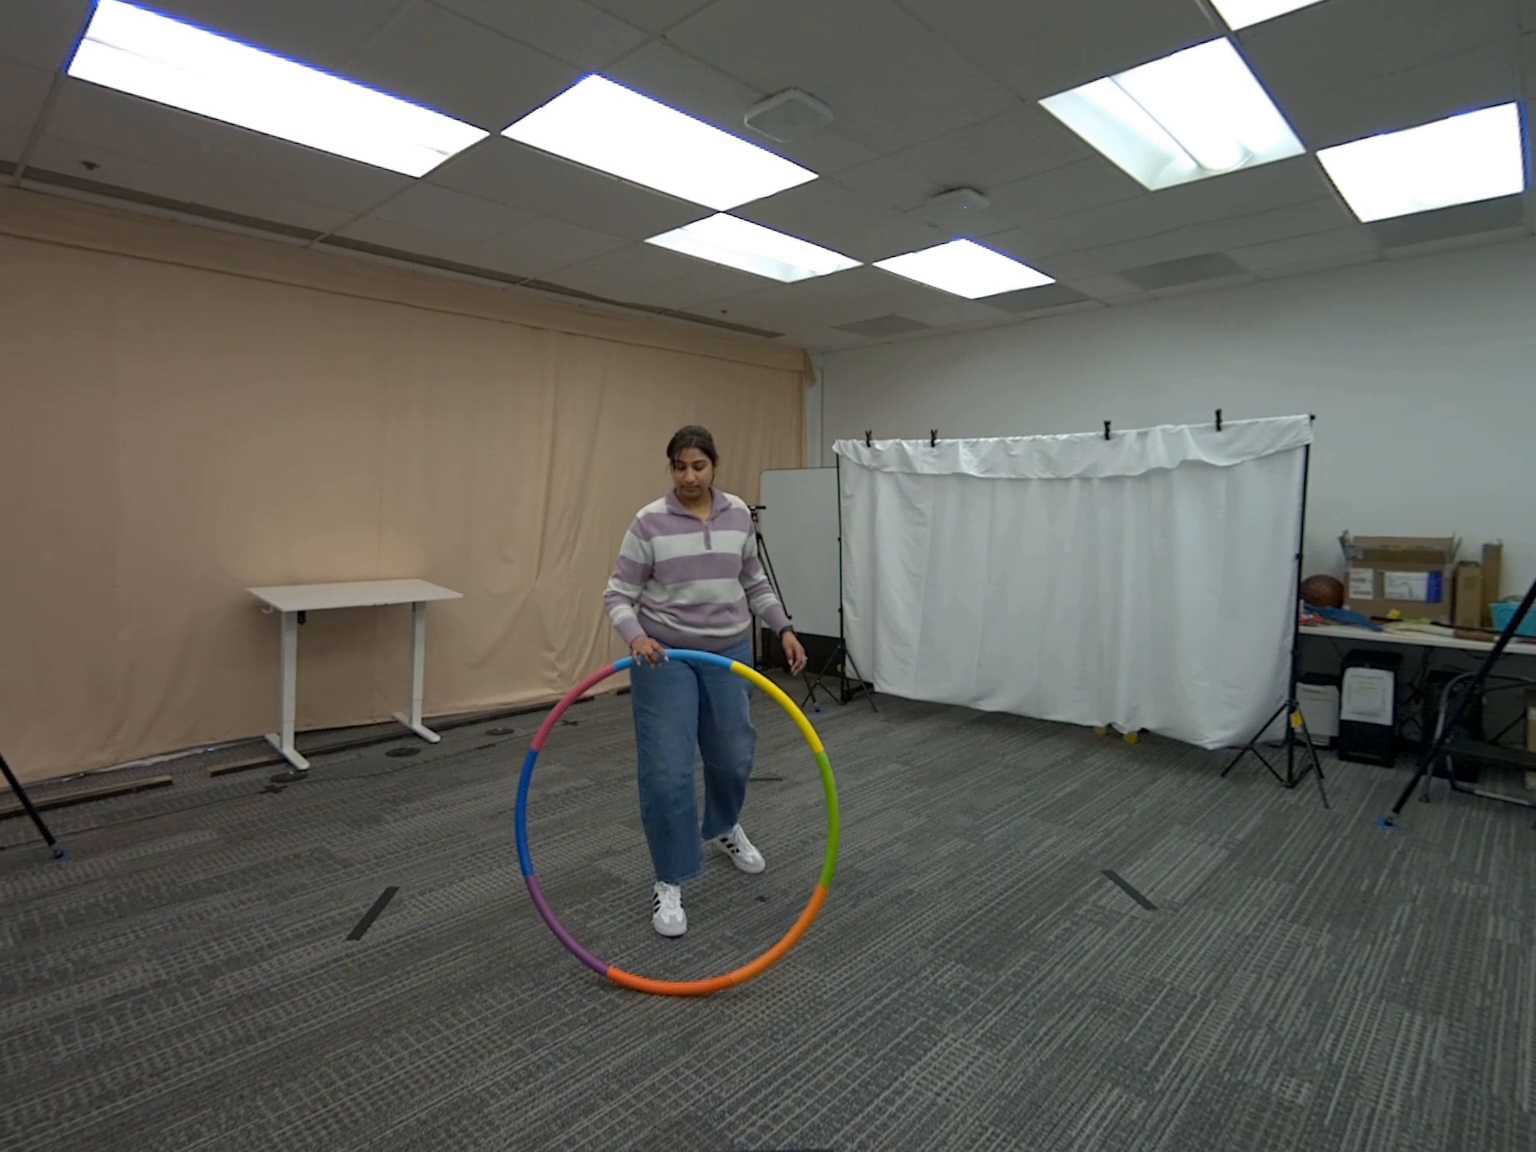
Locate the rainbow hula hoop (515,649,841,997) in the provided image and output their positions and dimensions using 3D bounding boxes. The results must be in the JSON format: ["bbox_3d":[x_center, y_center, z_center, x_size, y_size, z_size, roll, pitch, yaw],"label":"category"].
[{"bbox_3d":[-0.279,0.715,2.497,0.996,0.991,0.051,0,-10,10],"label":"rainbow hula hoop"}]
